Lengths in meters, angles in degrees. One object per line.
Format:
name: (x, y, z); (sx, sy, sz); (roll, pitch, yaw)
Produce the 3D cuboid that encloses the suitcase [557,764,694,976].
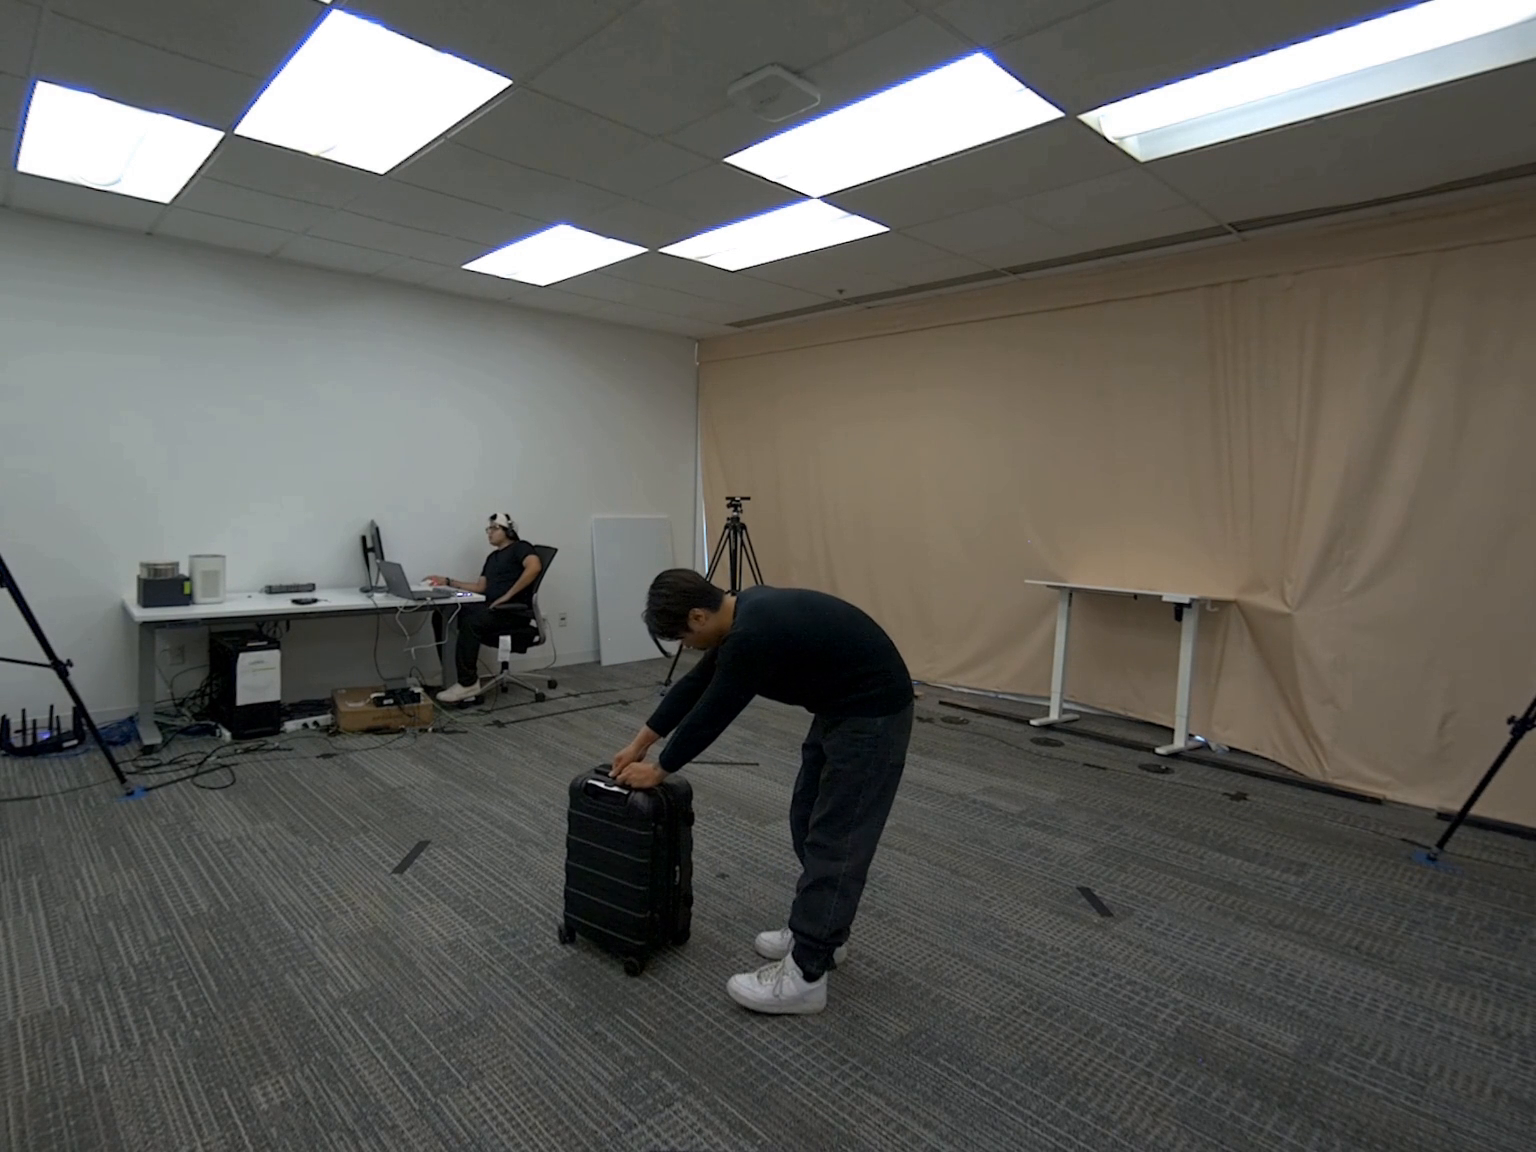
suitcase: (-0.441, 0.875, 2.604); (0.384, 0.548, 0.243); (6, 5, 34)
